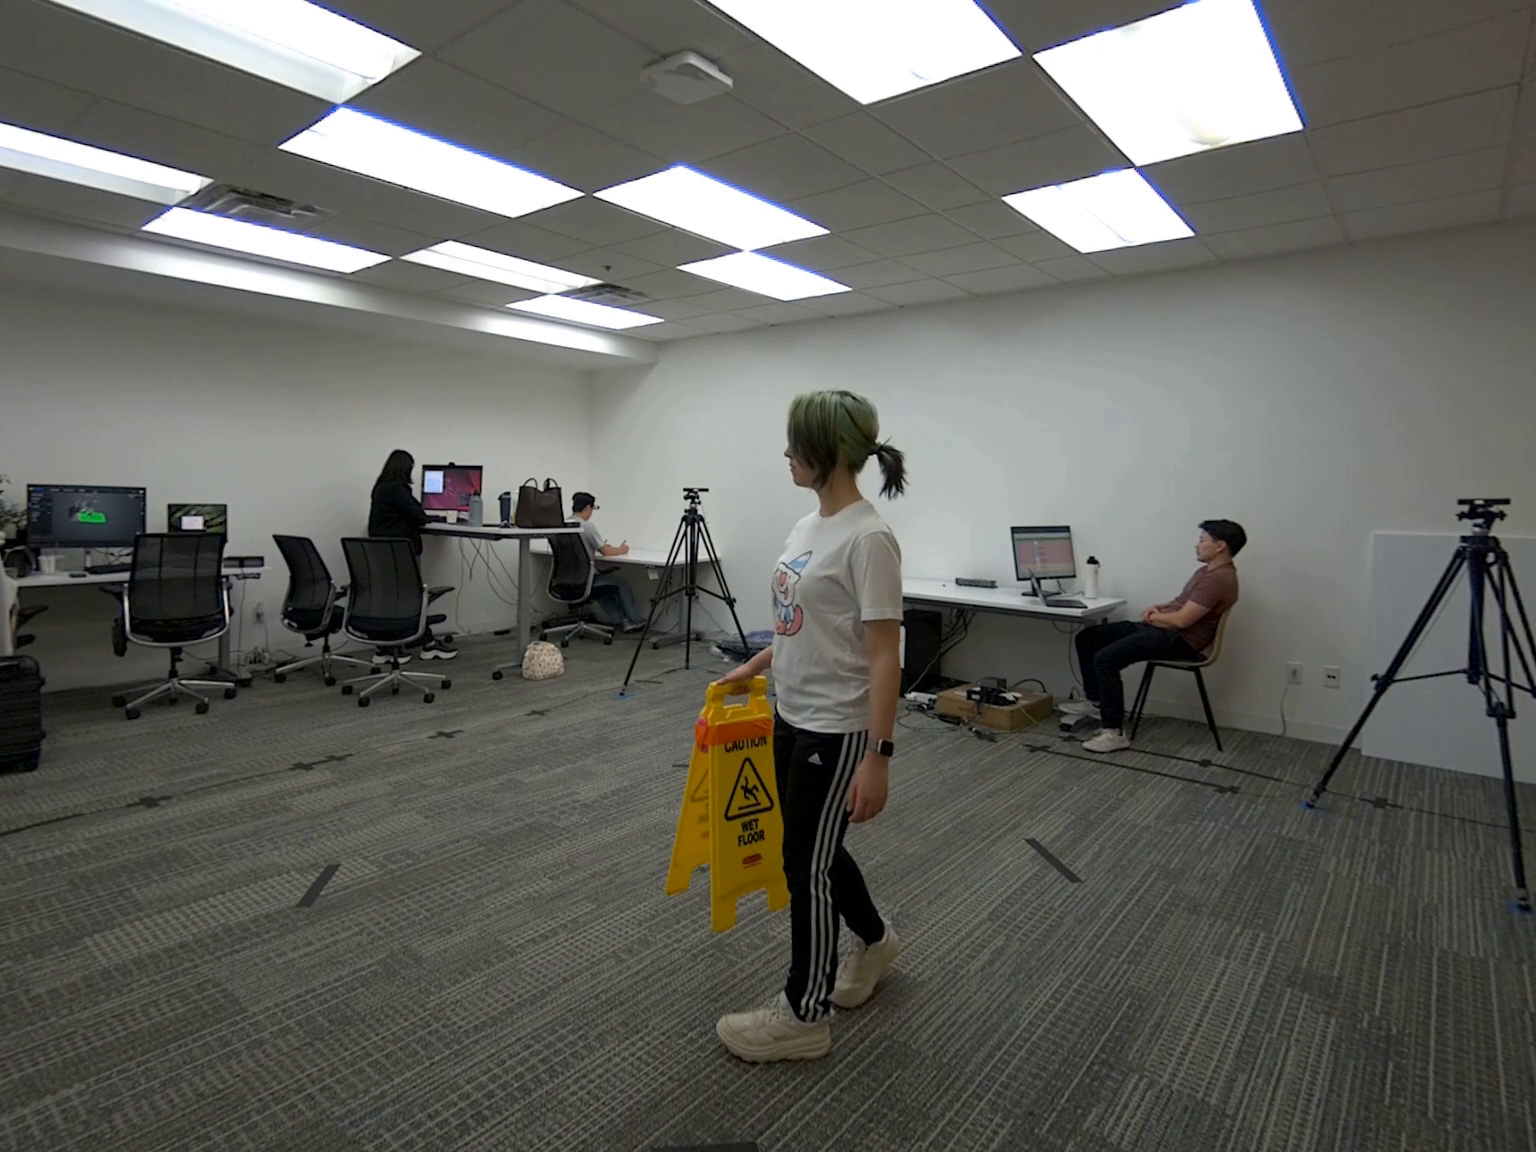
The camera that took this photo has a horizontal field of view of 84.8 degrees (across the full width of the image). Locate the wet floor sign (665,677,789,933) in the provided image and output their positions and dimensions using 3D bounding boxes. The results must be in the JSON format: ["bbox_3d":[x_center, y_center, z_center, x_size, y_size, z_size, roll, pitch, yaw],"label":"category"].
[{"bbox_3d":[-0.114,0.614,2.433,0.273,0.644,0.299,1,3,-38],"label":"wet floor sign"}]
